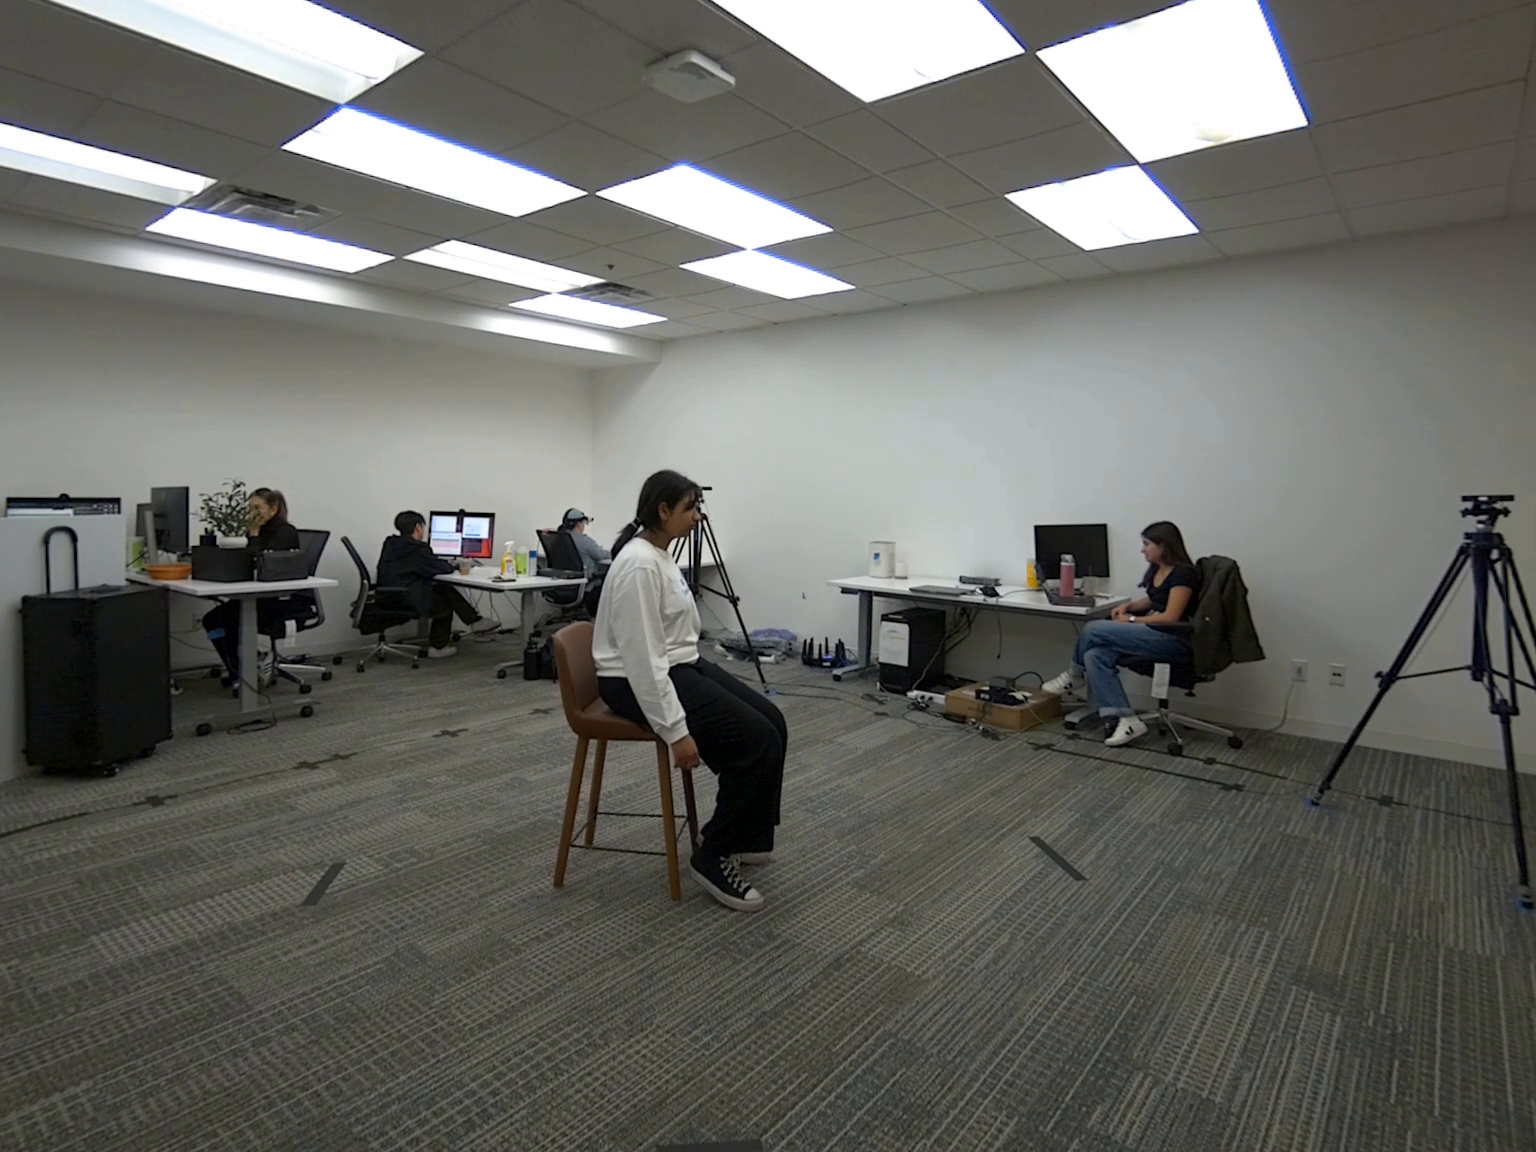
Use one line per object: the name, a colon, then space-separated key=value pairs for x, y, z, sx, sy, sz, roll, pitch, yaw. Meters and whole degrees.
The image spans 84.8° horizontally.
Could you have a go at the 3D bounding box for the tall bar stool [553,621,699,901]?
tall bar stool: x=-0.503 y=0.631 z=3.074 sx=0.472 sy=0.887 sz=0.454 roll=0 pitch=3 yaw=8
